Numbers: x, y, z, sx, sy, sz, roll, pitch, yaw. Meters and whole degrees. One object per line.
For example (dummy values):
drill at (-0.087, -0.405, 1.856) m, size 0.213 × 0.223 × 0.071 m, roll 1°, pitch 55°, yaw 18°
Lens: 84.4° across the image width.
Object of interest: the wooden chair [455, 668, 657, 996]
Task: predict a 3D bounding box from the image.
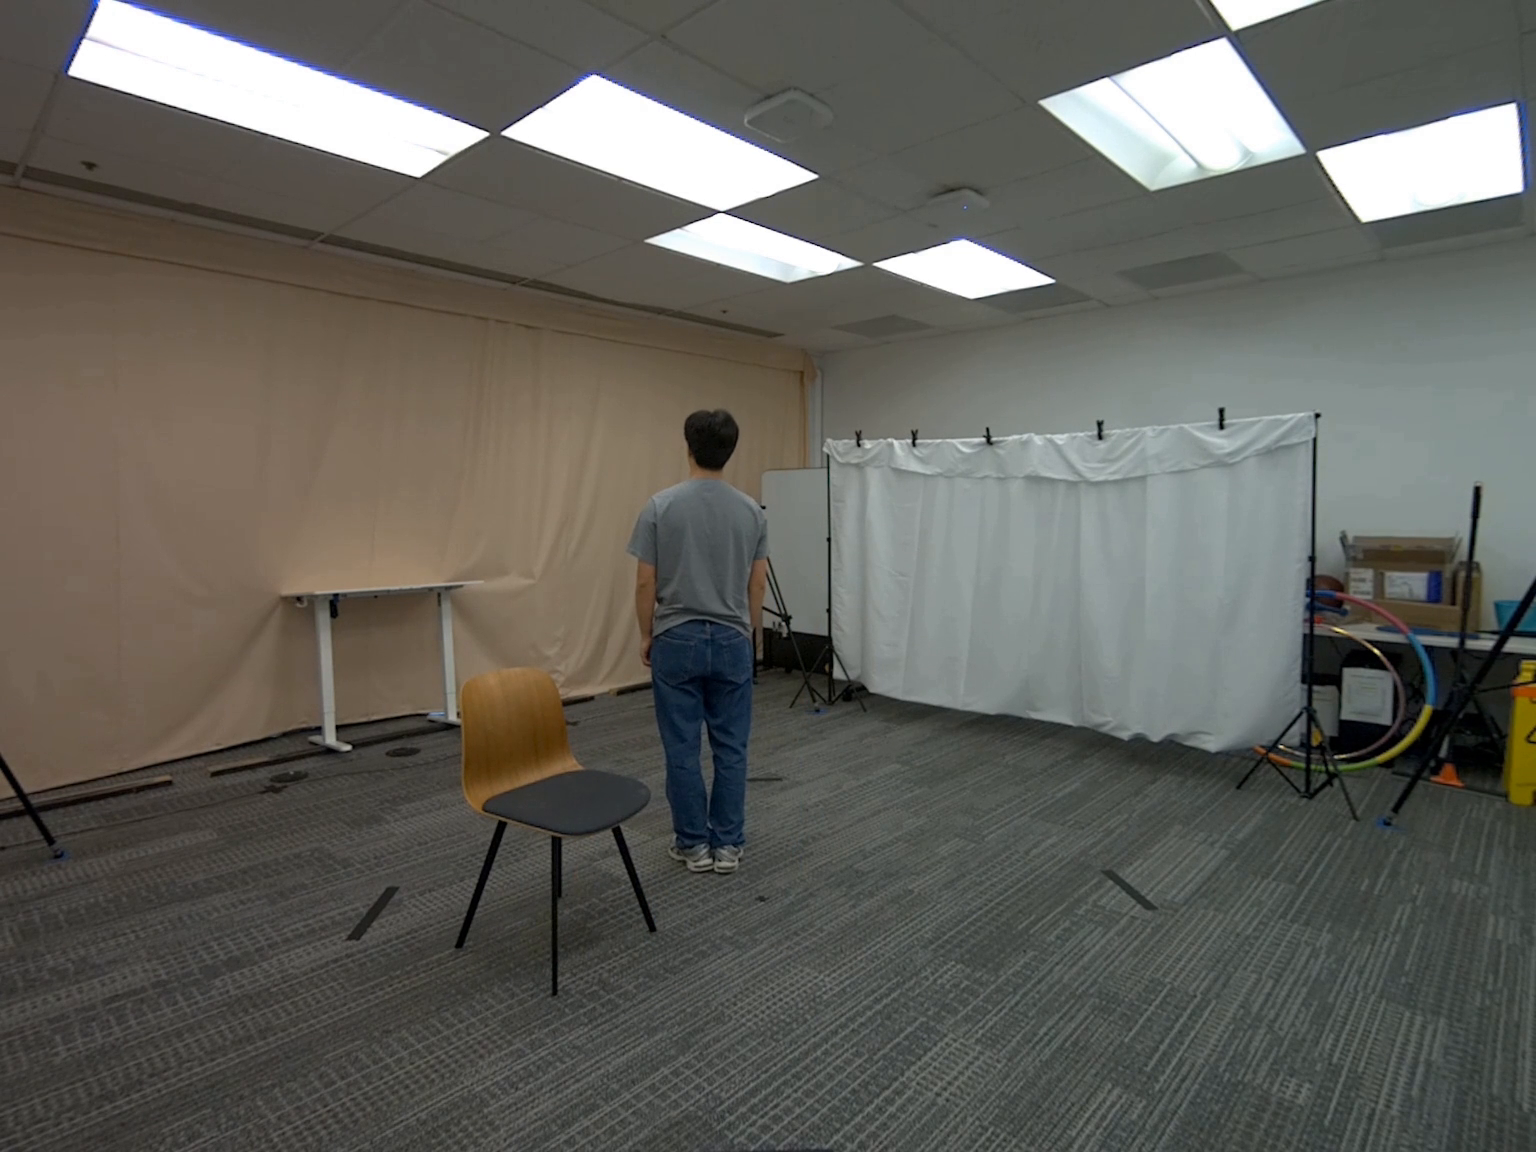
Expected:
wooden chair at (-0.672, 0.748, 2.676) m, size 0.538 × 0.877 × 0.464 m, roll -3°, pitch 0°, yaw 35°
